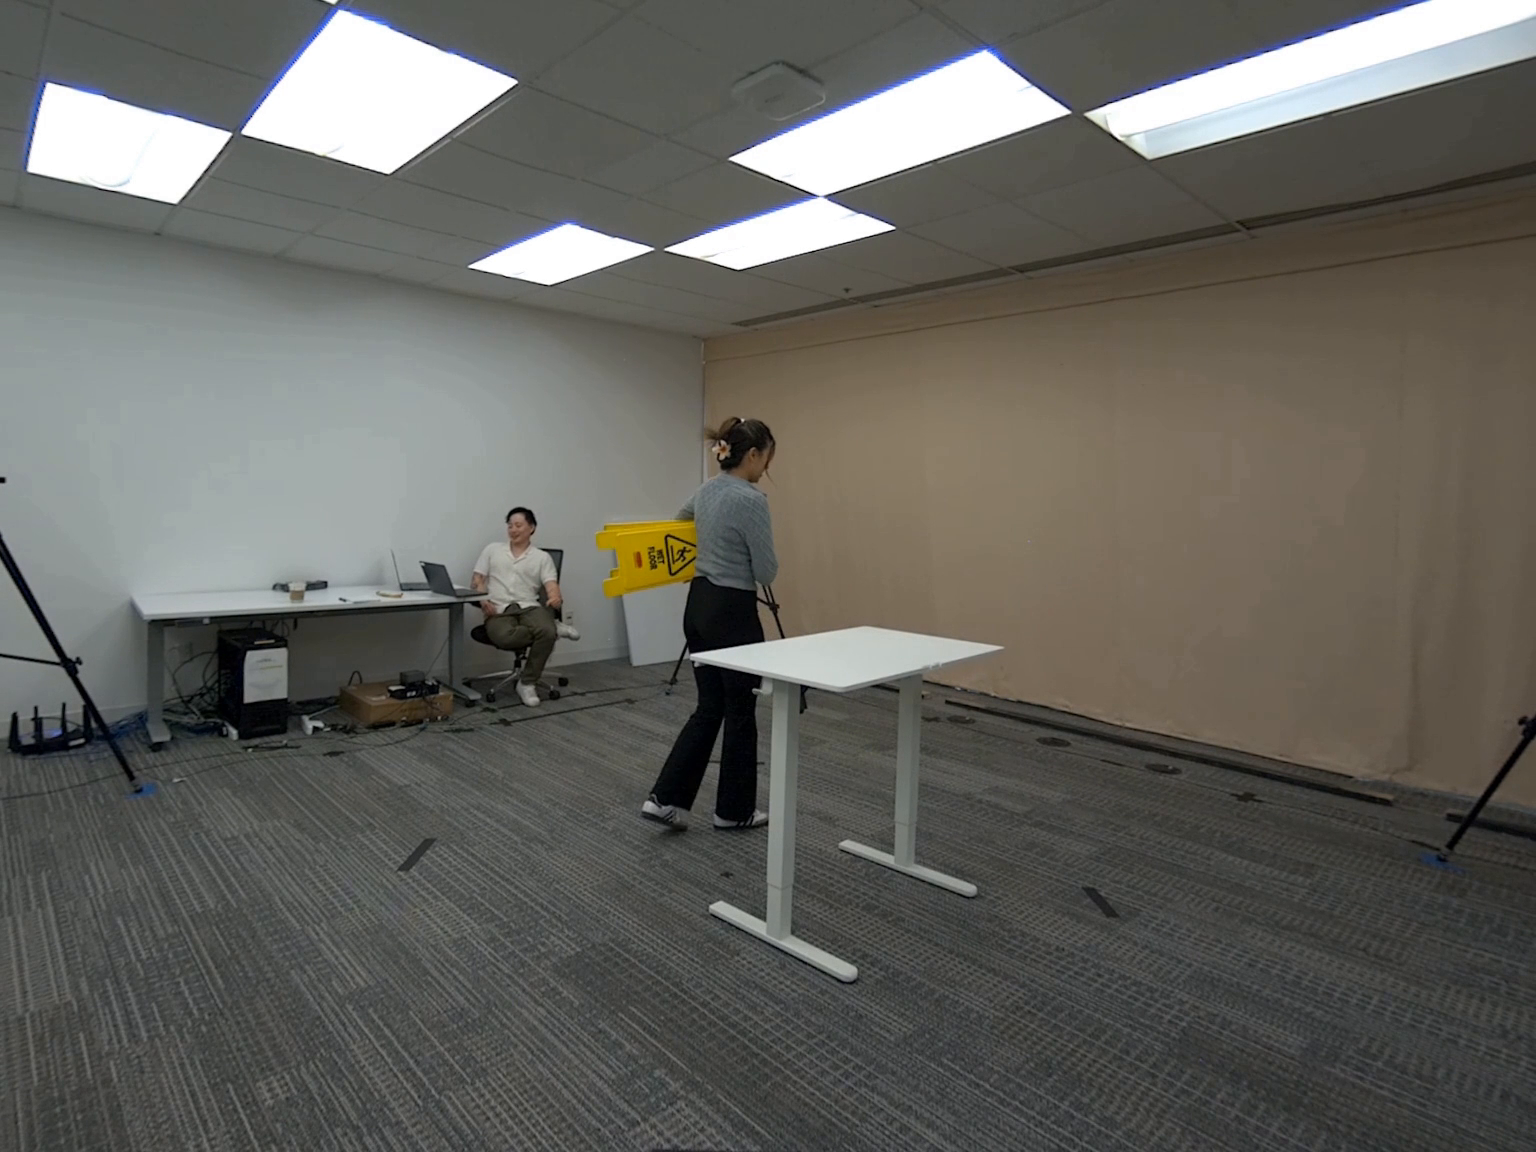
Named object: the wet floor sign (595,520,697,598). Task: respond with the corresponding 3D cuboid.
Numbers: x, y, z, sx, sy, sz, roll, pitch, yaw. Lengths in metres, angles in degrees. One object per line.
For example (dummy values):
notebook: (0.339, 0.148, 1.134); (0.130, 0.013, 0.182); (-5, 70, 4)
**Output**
wet floor sign: (-0.390, -0.109, 3.636); (0.646, 0.280, 0.291); (-7, 8, 0)
